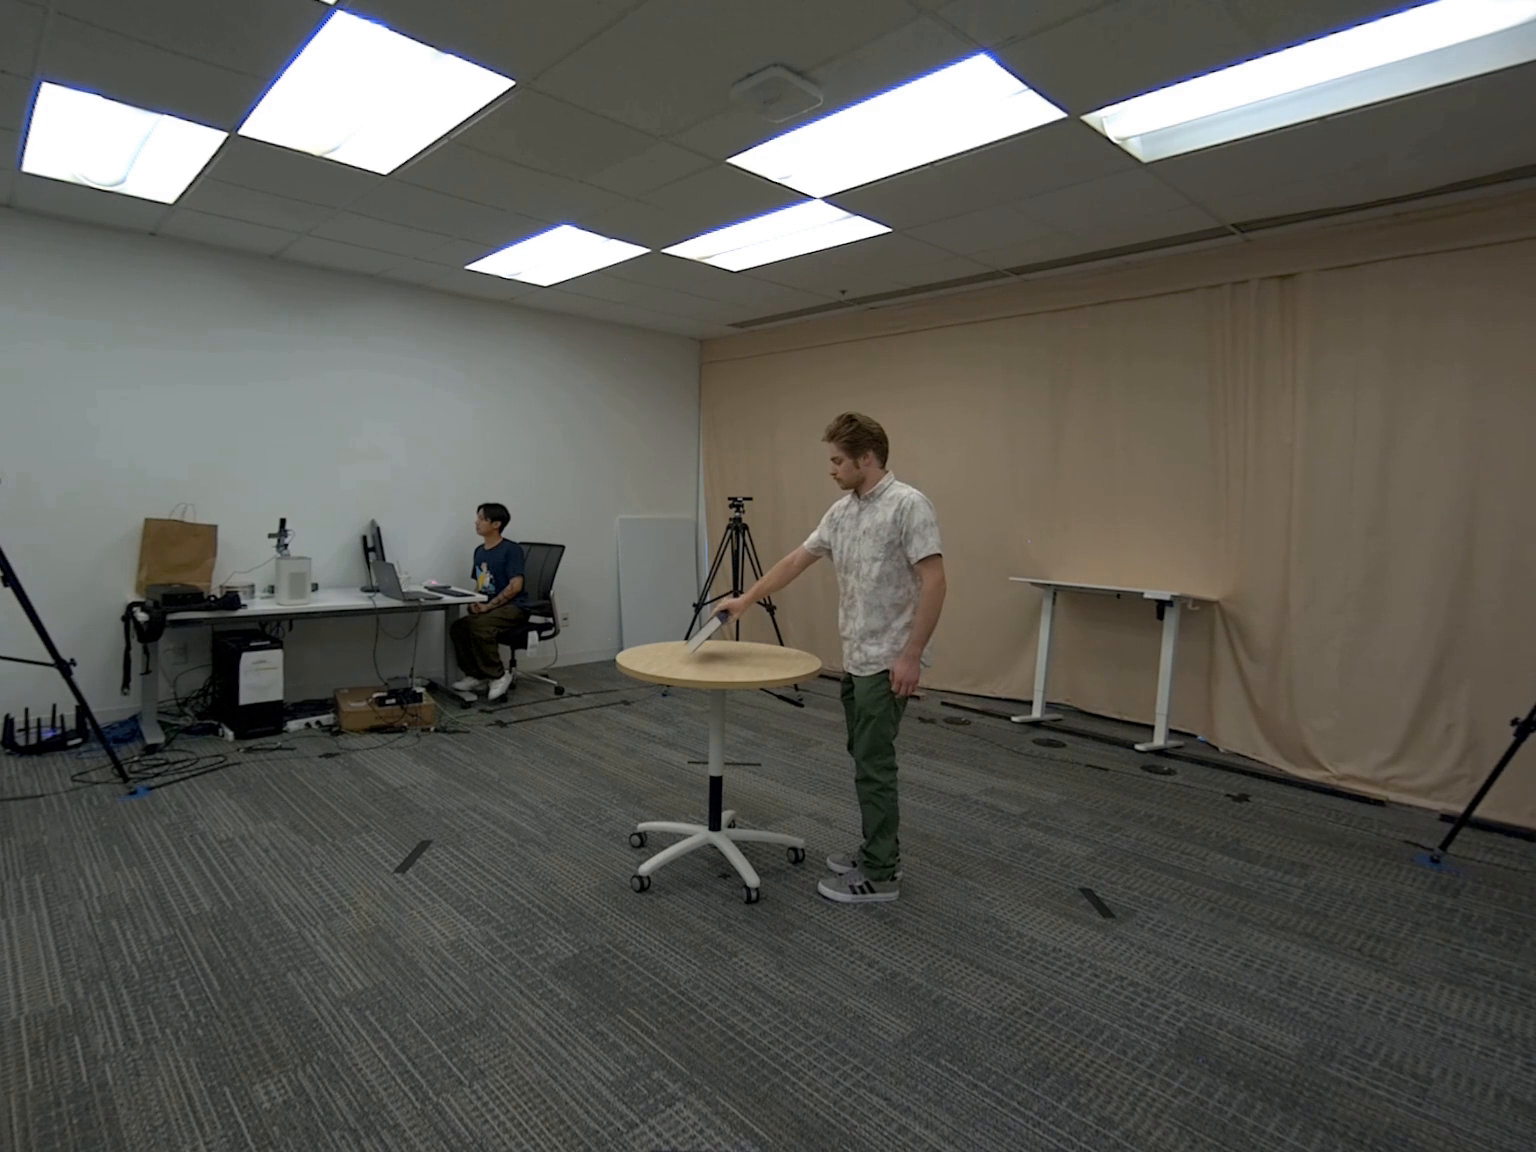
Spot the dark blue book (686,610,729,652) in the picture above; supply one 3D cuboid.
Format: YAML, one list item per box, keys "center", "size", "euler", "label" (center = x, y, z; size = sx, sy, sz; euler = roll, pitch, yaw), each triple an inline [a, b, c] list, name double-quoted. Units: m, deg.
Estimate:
- center: [-0.220, 0.193, 3.151]
  size: [0.045, 0.163, 0.244]
  euler: [45, 7, -1]
  label: "dark blue book"
